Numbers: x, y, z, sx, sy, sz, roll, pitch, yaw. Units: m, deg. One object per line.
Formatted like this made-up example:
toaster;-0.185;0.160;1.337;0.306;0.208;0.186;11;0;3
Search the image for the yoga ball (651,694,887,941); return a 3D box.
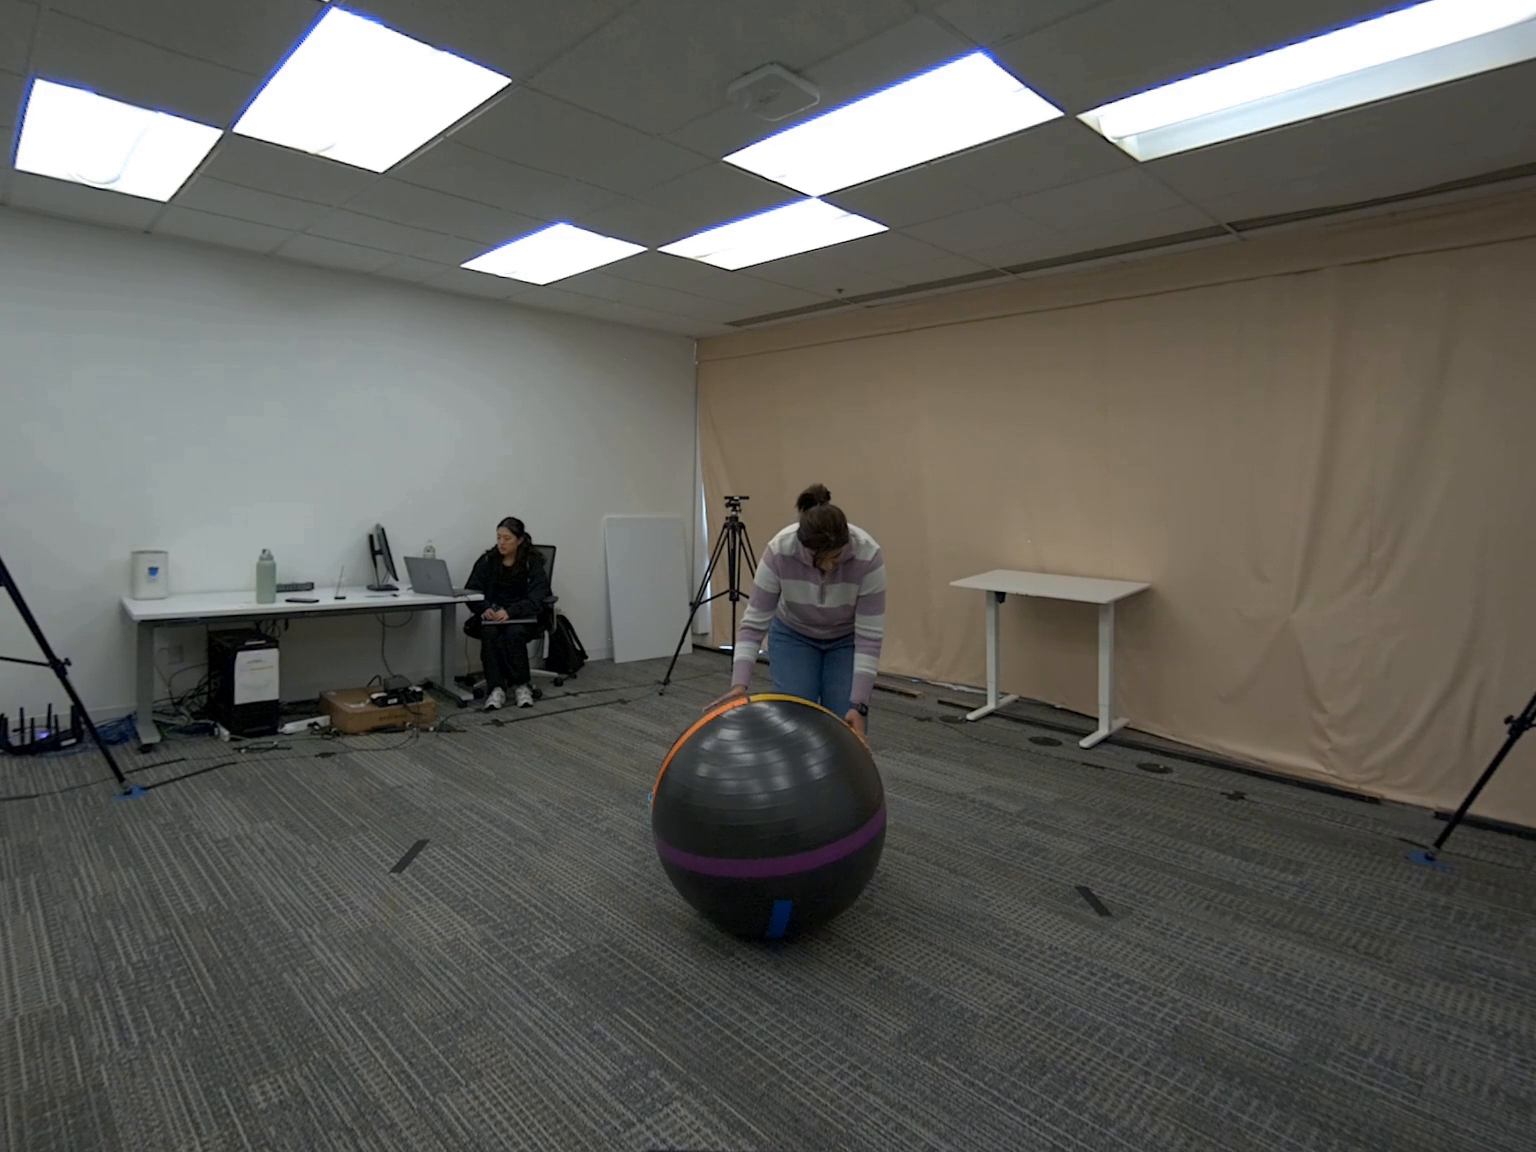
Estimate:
yoga ball;-0.005;0.770;2.741;0.757;0.756;0.761;1;4;-1
